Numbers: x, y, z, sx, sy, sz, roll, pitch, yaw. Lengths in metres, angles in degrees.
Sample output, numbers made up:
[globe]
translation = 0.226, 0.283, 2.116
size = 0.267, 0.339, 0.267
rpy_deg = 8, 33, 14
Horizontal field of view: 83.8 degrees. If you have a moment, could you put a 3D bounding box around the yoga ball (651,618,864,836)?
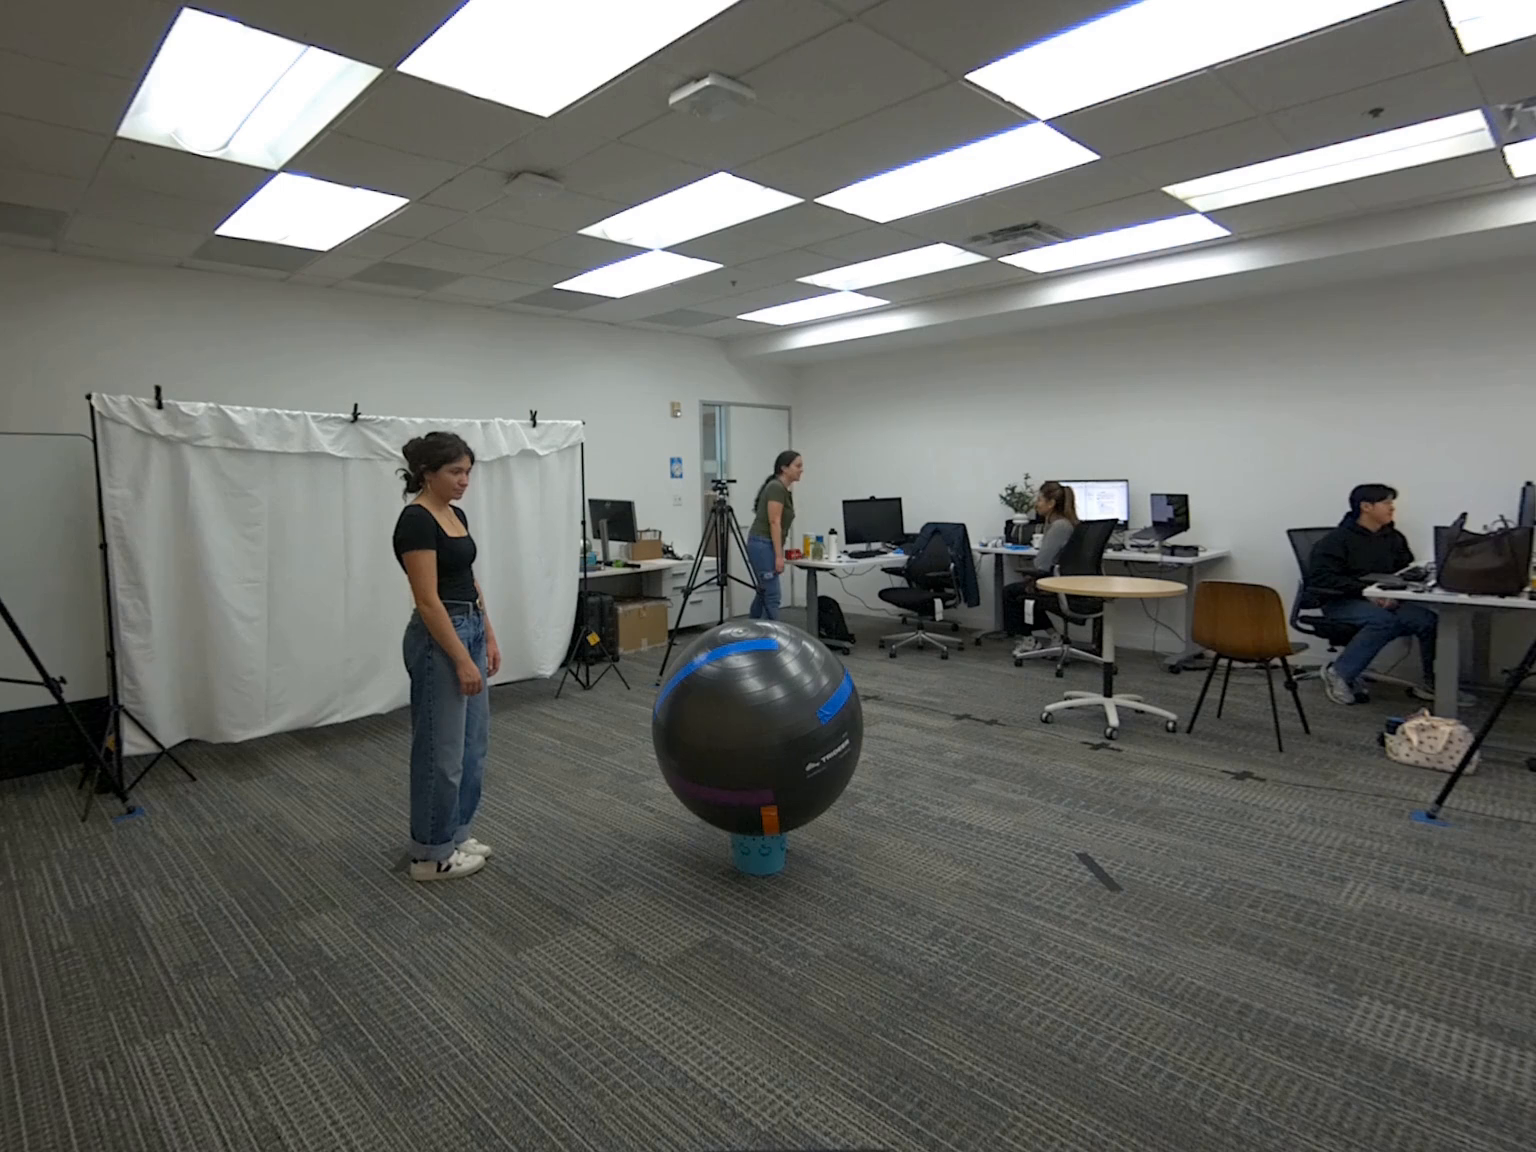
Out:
[yoga ball]
translation = -0.045, 0.530, 3.075
size = 0.757, 0.755, 0.762
rpy_deg = -1, 5, -2
